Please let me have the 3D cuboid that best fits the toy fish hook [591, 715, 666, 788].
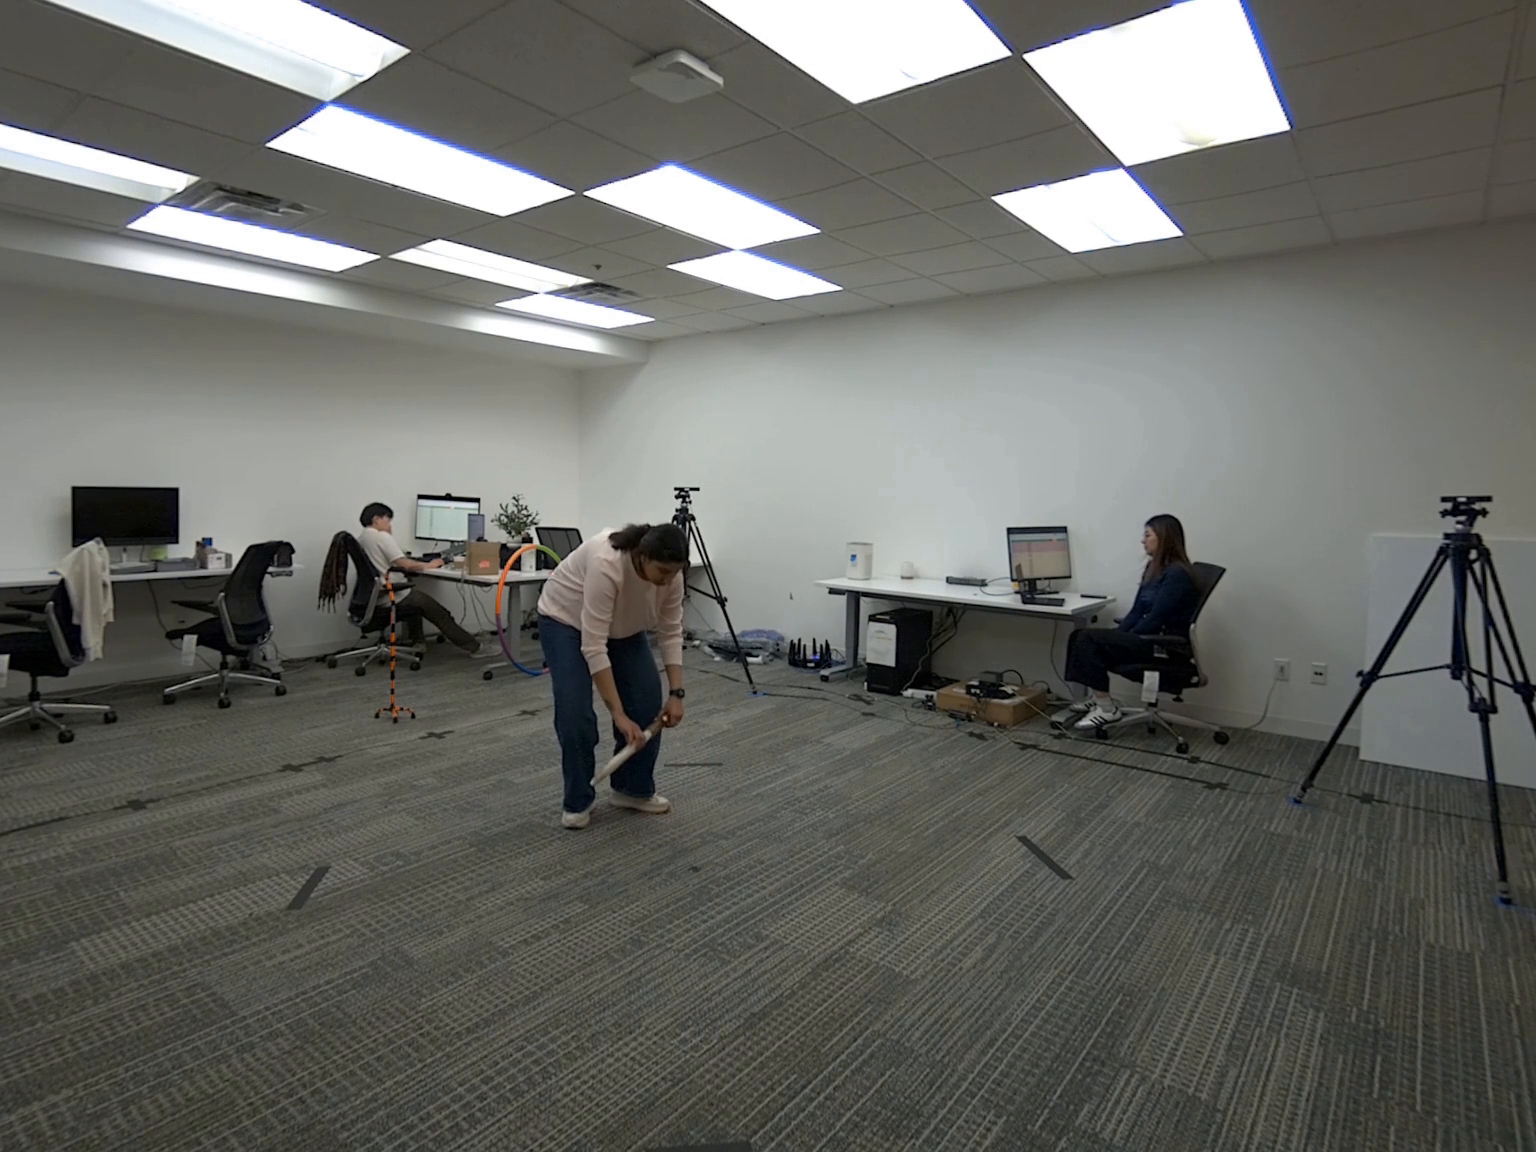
[{"bbox_3d":[-0.539,0.662,3.346,0.226,0.048,0.501,-38,-2,31],"label":"toy fish hook"}]
